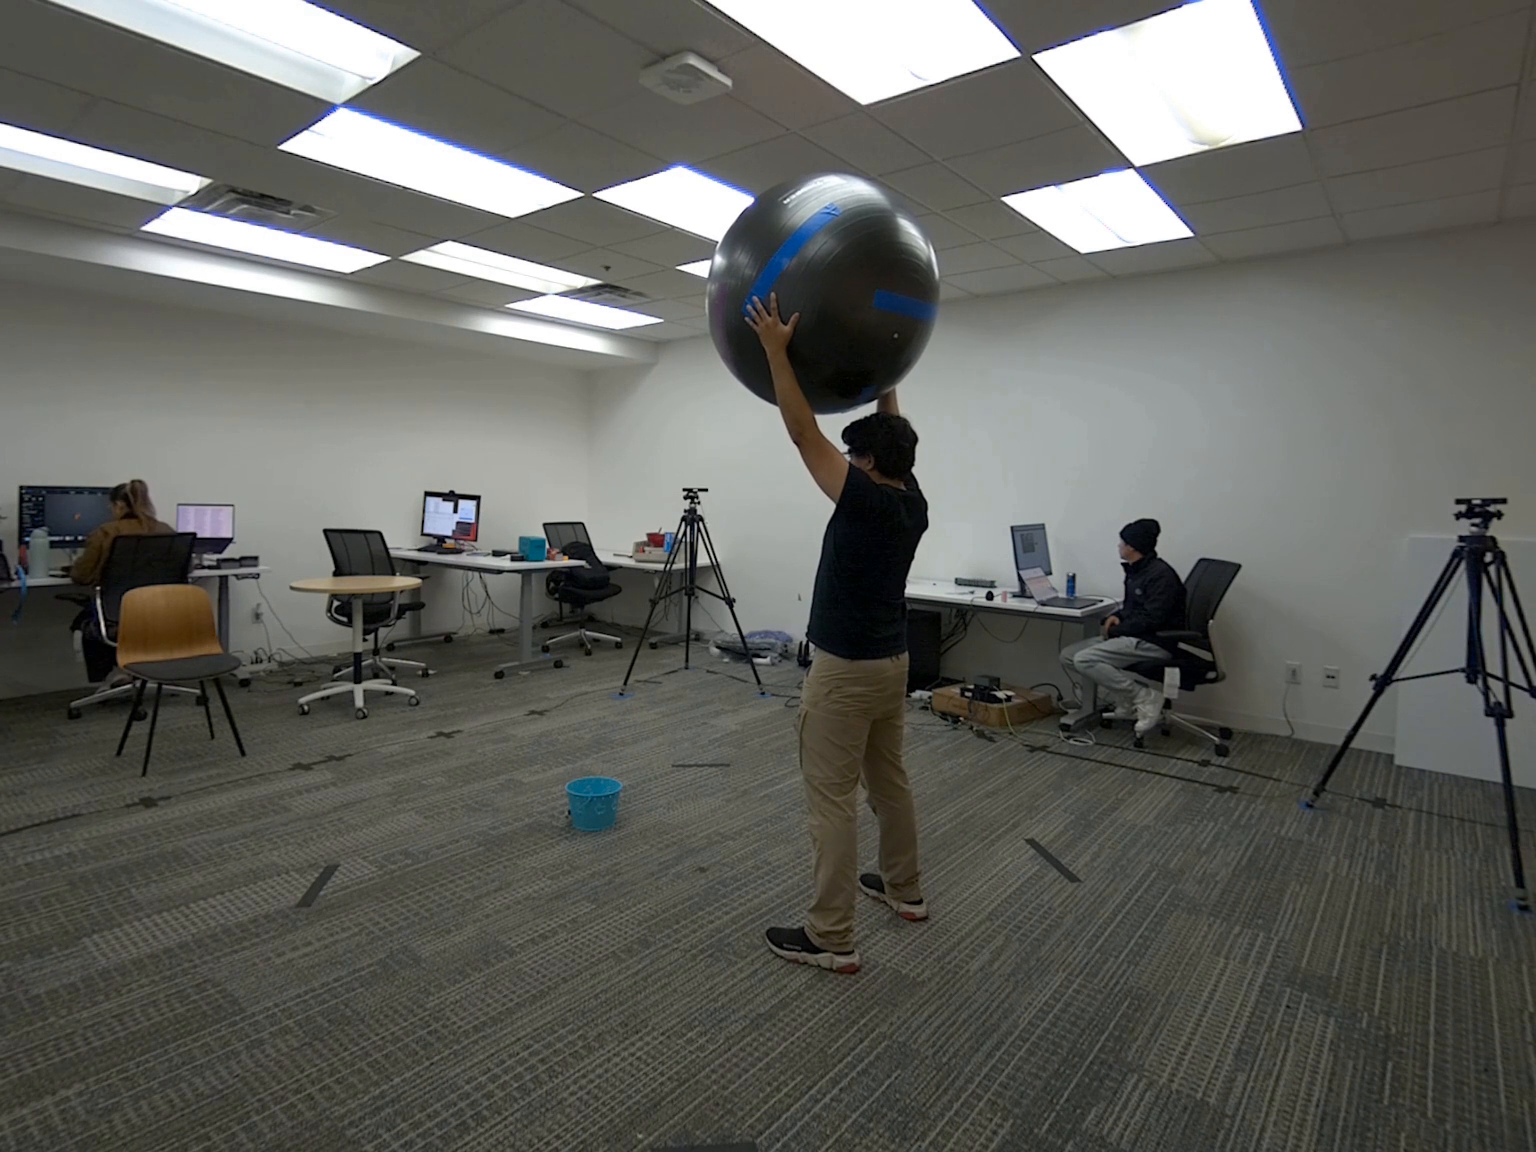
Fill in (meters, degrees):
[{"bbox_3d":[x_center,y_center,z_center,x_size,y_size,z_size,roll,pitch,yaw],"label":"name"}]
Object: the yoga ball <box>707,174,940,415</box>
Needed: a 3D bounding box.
[{"bbox_3d":[0.168,-0.909,2.789,0.757,0.756,0.761,1,4,-2],"label":"yoga ball"}]
